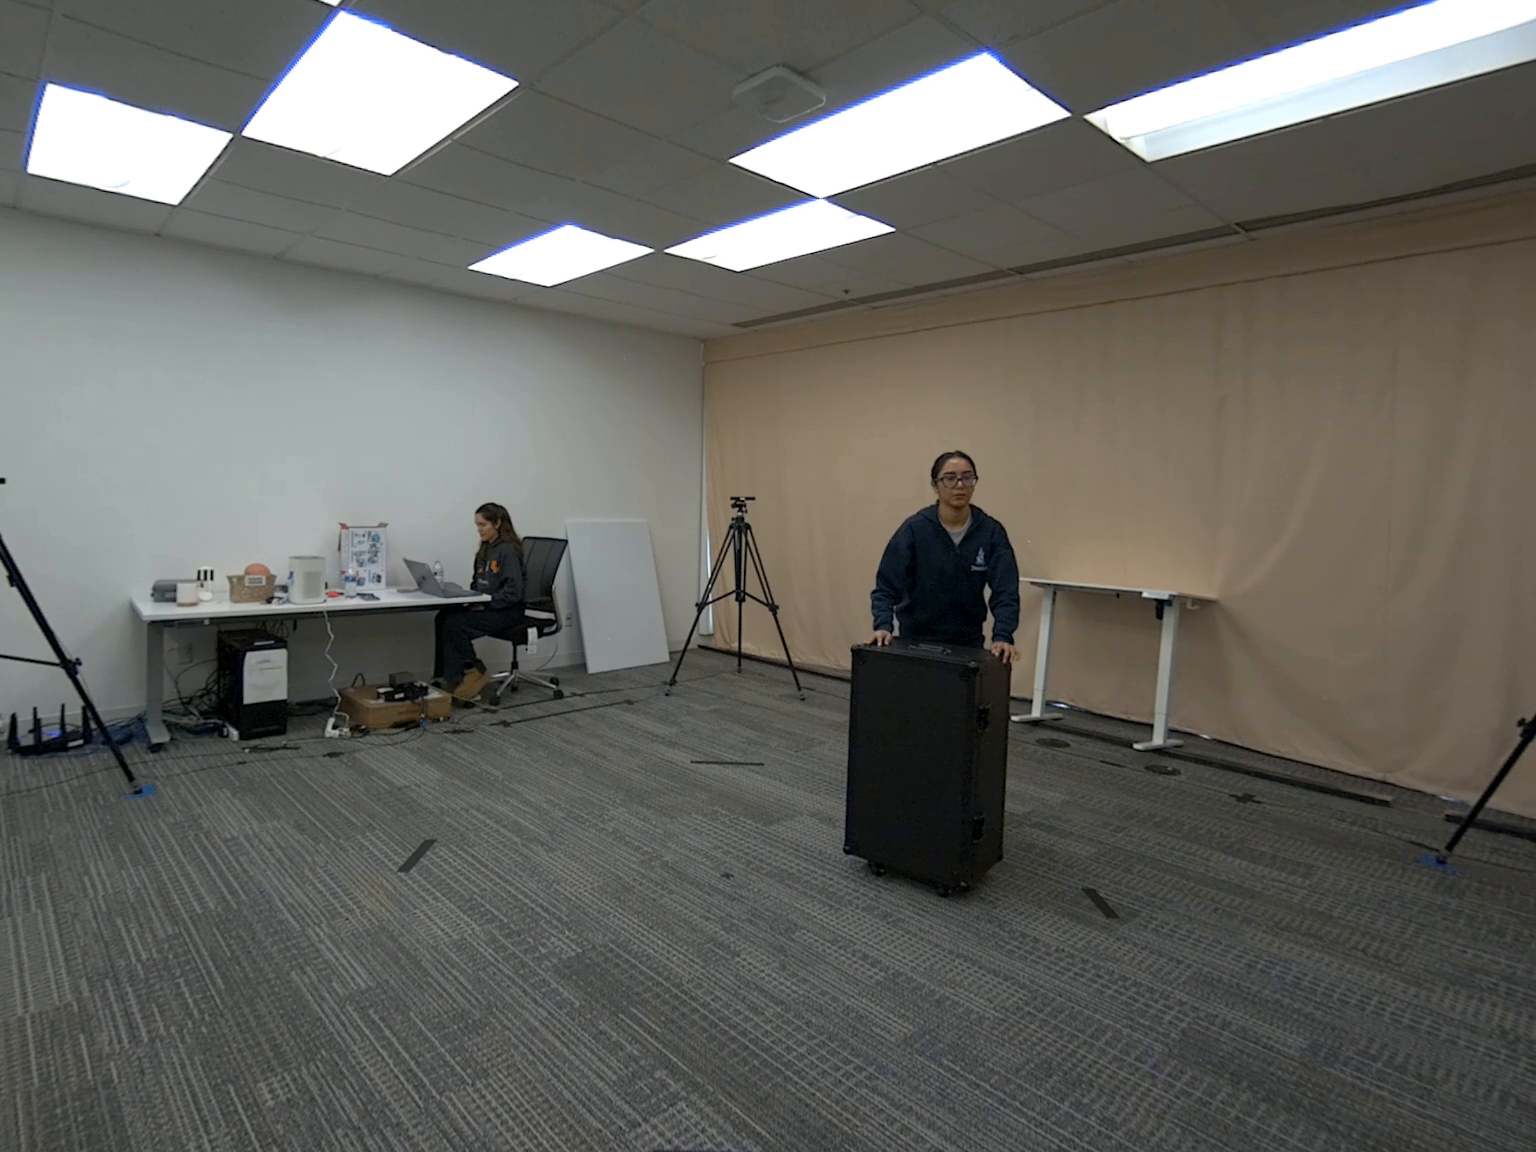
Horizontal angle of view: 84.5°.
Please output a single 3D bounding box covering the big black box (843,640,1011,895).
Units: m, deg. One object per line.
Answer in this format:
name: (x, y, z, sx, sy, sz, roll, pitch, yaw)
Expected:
big black box: (0.588, 0.696, 3.150, 0.534, 0.860, 0.387, 4, 3, 36)
